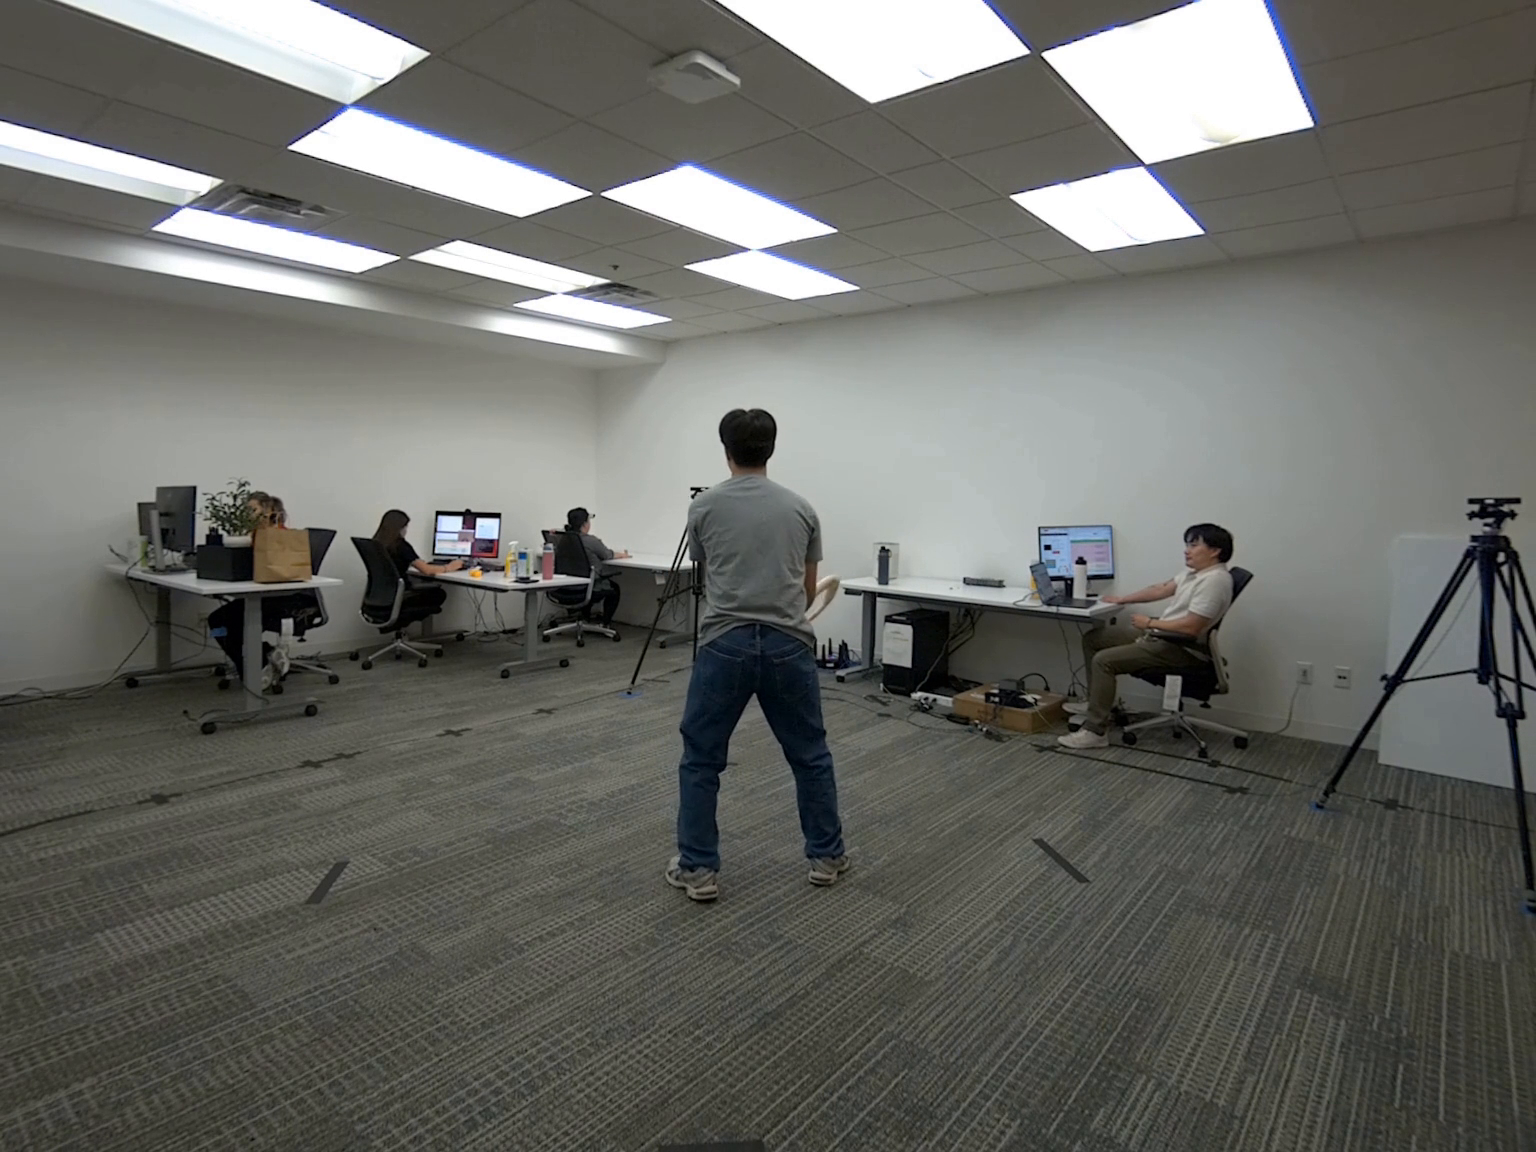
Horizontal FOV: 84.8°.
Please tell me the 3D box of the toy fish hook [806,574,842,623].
[{"bbox_3d":[0.128,0.138,3.446,0.050,0.219,0.501,31,47,29],"label":"toy fish hook"}]
